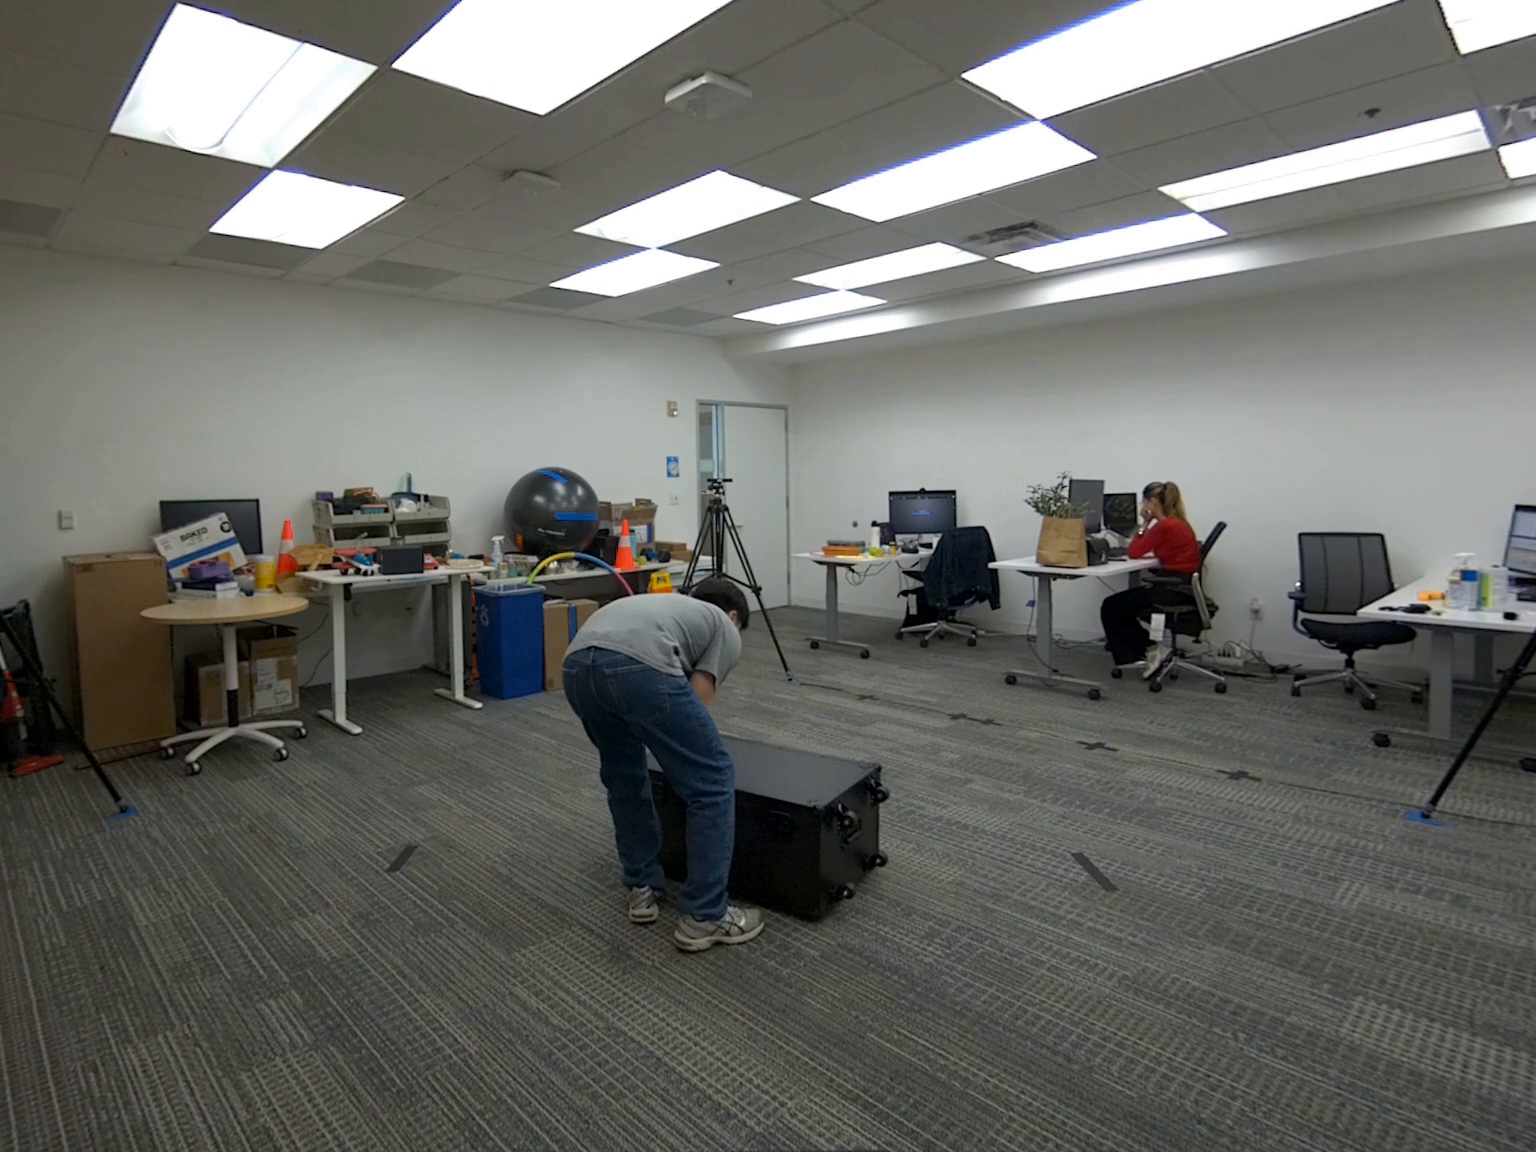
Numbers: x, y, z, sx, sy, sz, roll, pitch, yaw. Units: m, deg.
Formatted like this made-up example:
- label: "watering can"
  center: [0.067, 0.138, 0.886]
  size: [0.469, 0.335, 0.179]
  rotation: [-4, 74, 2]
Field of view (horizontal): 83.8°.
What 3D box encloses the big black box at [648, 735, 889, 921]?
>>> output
- label: "big black box"
  center: [-0.023, 0.849, 3.037]
  size: [0.885, 0.394, 0.509]
  rotation: [3, 7, 31]
